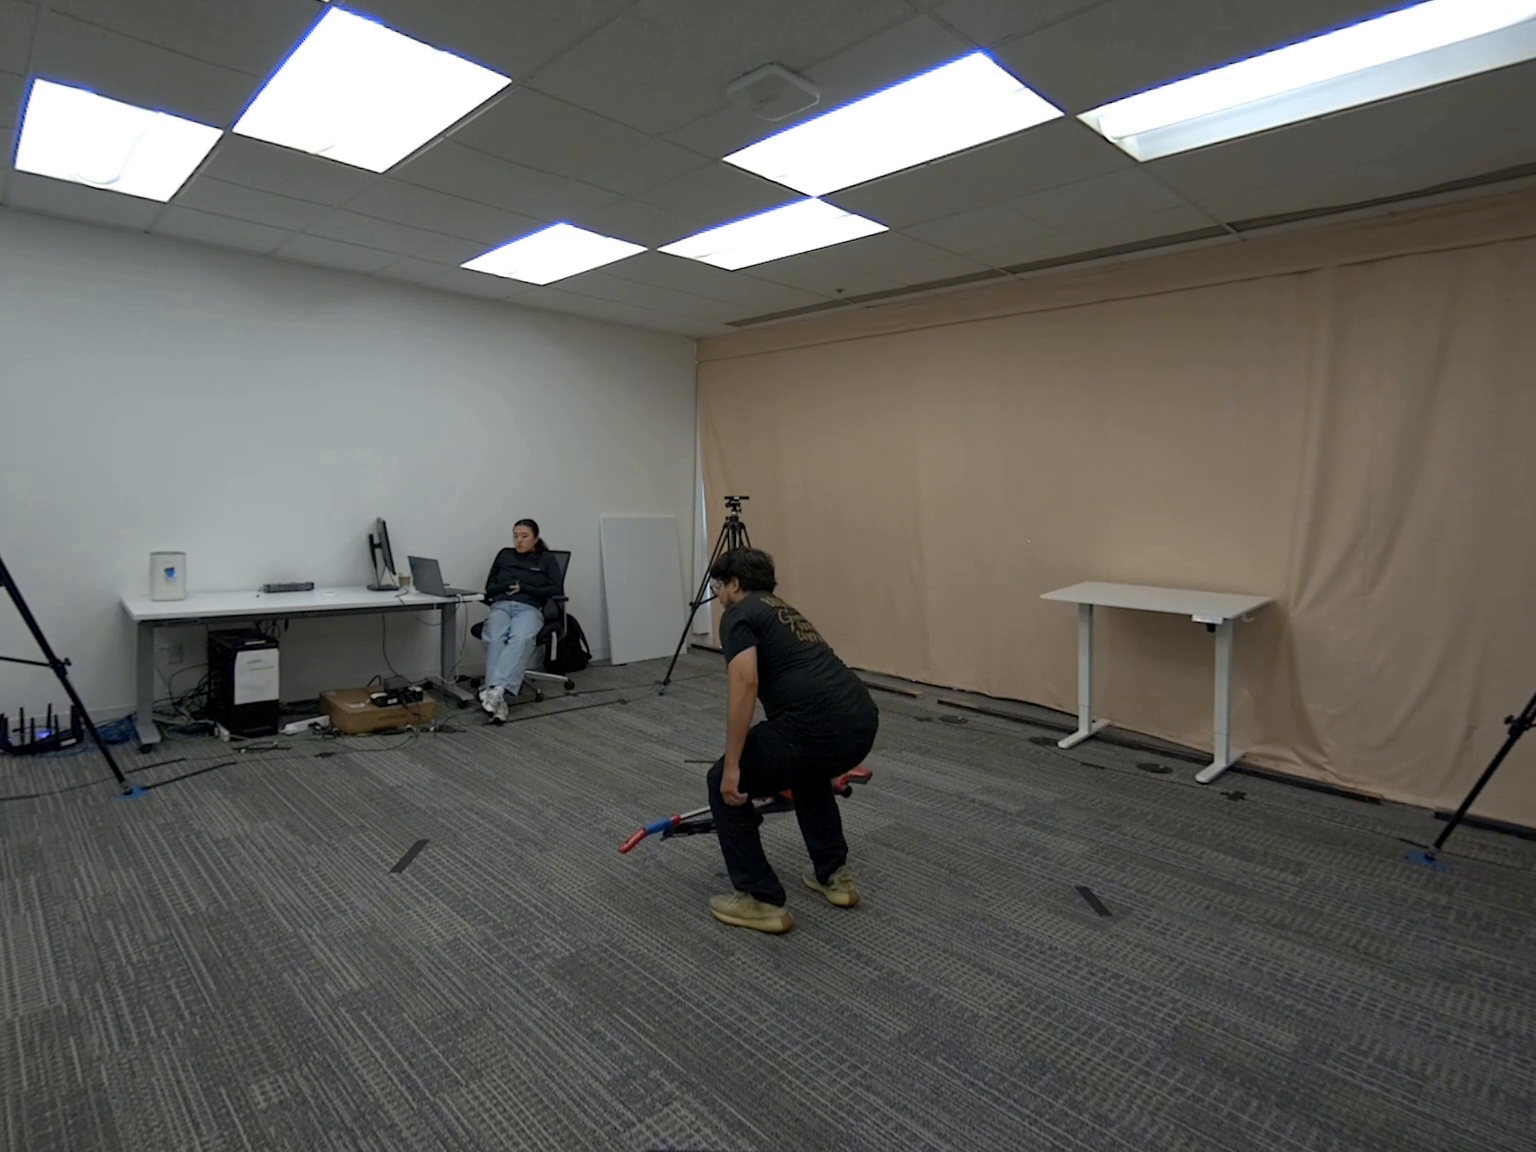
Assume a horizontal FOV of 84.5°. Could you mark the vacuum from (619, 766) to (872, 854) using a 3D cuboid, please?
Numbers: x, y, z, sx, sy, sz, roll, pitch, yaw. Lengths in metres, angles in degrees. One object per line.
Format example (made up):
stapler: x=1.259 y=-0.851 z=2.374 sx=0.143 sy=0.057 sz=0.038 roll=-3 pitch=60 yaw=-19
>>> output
vacuum: x=-0.100 y=0.883 z=3.156 sx=1.028 sy=0.143 sz=0.260 roll=-8 pitch=17 yaw=-37
